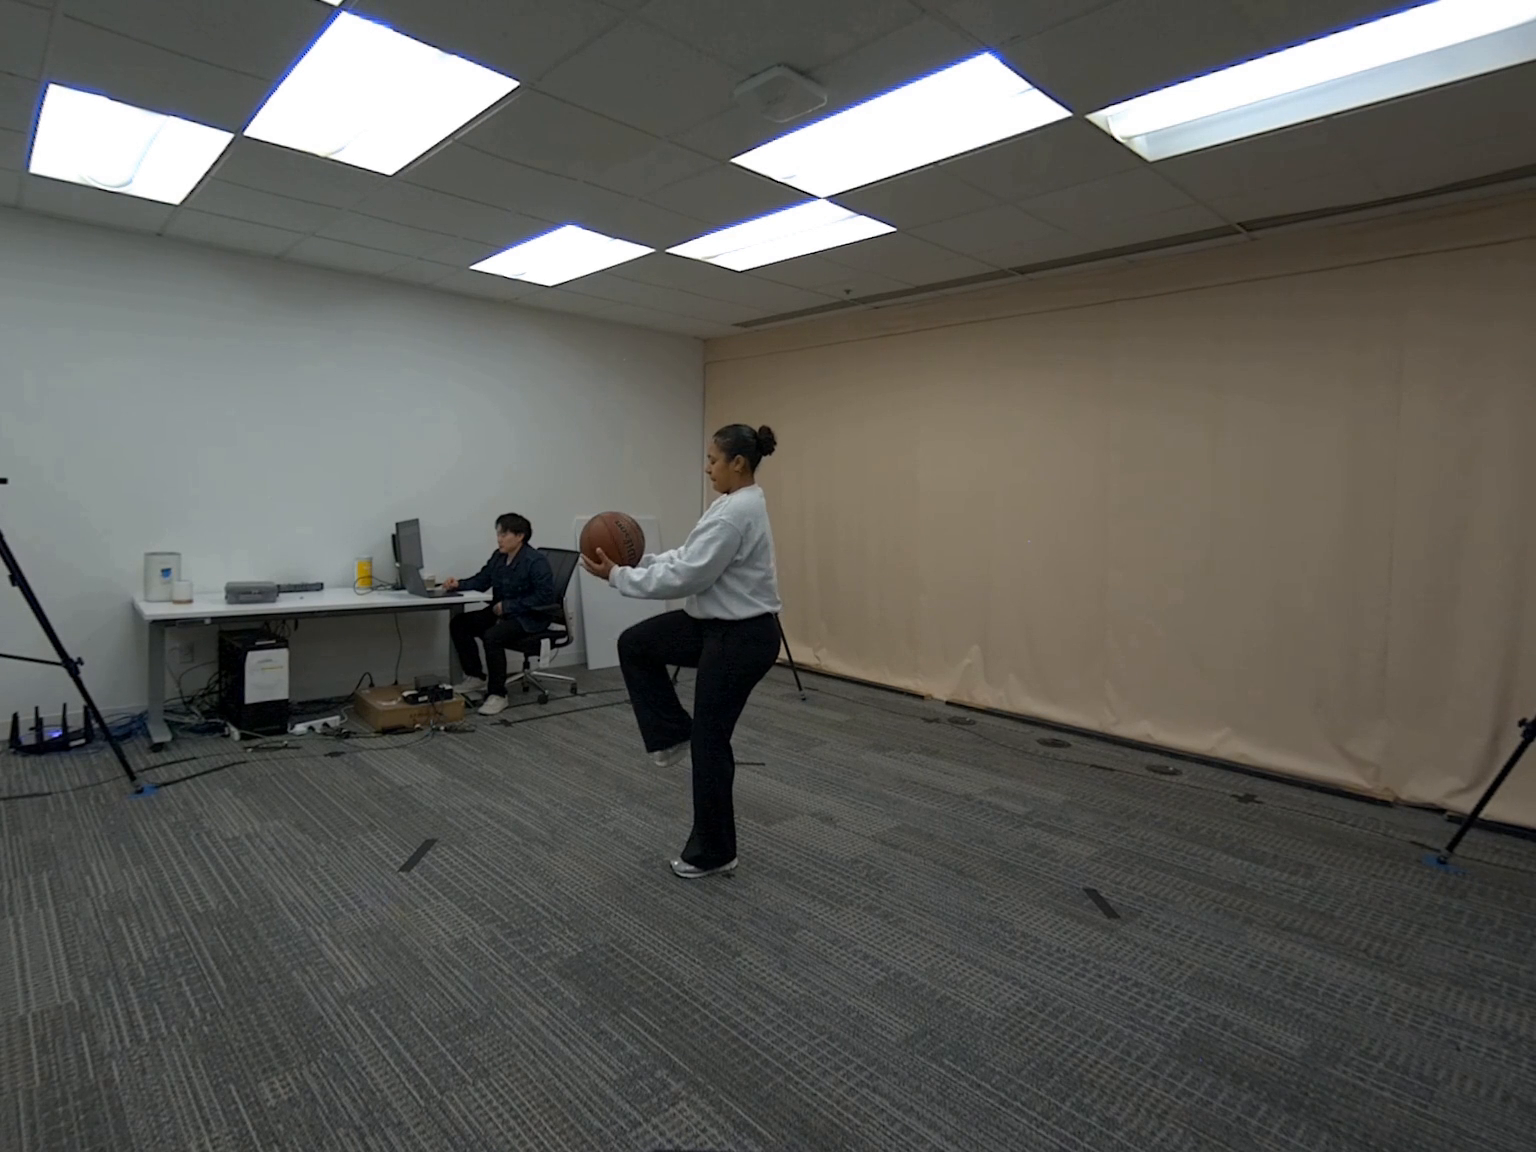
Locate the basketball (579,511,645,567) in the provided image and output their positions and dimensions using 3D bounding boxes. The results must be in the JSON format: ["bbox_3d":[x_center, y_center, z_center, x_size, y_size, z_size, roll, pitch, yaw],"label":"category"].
[{"bbox_3d":[-0.567,-0.101,3.087,0.236,0.235,0.237,1,4,-1],"label":"basketball"}]
